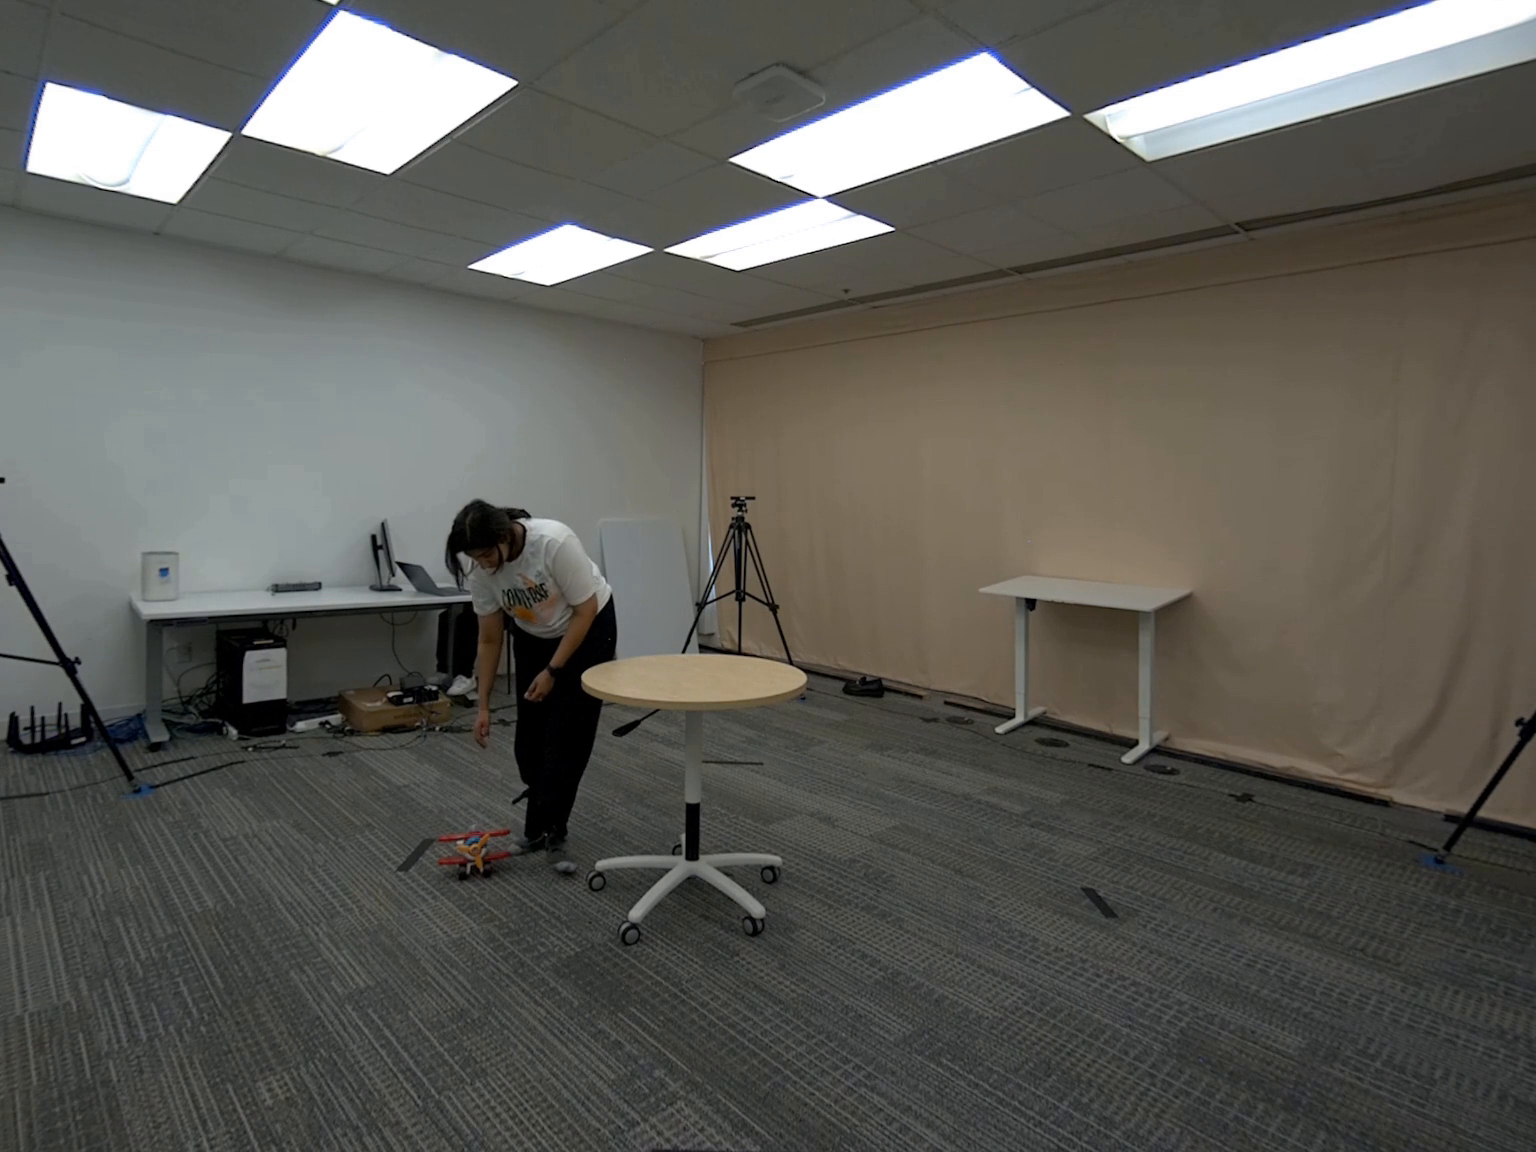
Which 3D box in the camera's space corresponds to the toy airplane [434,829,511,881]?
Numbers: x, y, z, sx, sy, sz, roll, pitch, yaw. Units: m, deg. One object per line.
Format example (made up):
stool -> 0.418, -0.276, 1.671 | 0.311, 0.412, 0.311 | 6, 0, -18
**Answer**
toy airplane -> -1.118, 1.014, 3.107 | 0.266, 0.156, 0.246 | 5, 8, 44
